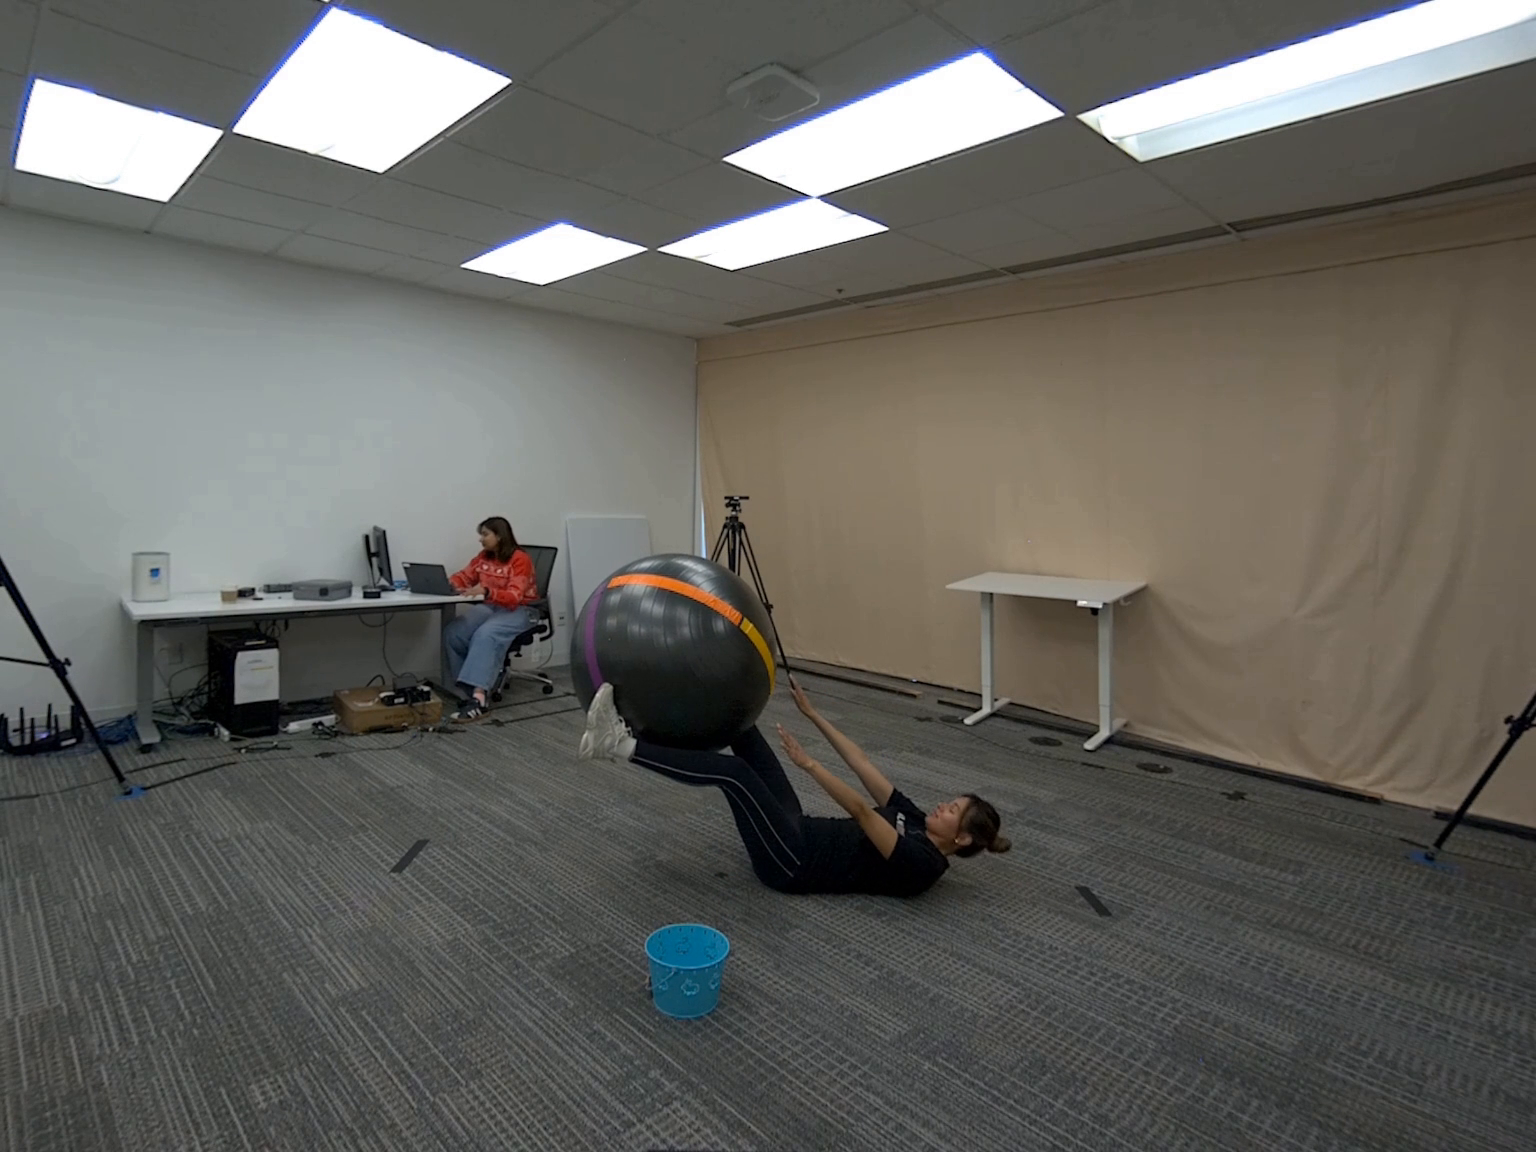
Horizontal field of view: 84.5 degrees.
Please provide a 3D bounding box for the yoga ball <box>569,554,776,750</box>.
[{"bbox_3d":[-0.342,0.298,3.097,0.757,0.756,0.761,1,4,-1],"label":"yoga ball"}]
